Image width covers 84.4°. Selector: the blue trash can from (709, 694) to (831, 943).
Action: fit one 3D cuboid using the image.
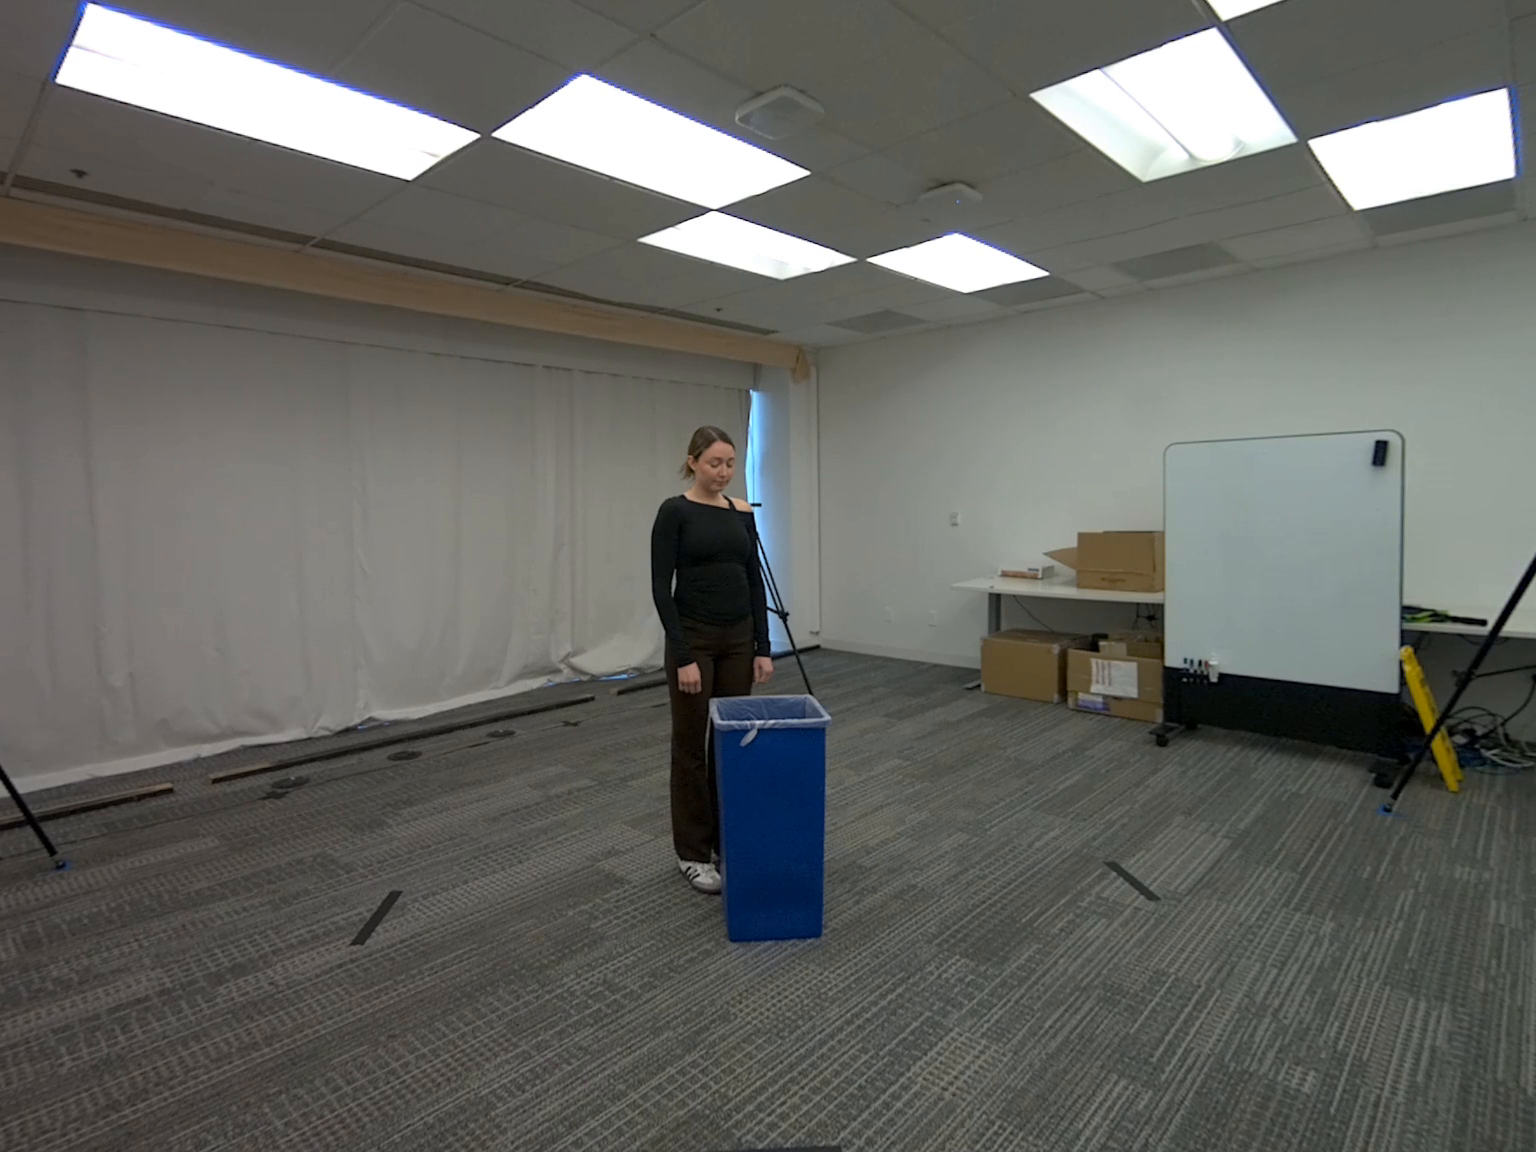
[{"bbox_3d":[0.004,0.790,2.819,0.377,0.712,0.376,-1,3,-4],"label":"blue trash can"}]
